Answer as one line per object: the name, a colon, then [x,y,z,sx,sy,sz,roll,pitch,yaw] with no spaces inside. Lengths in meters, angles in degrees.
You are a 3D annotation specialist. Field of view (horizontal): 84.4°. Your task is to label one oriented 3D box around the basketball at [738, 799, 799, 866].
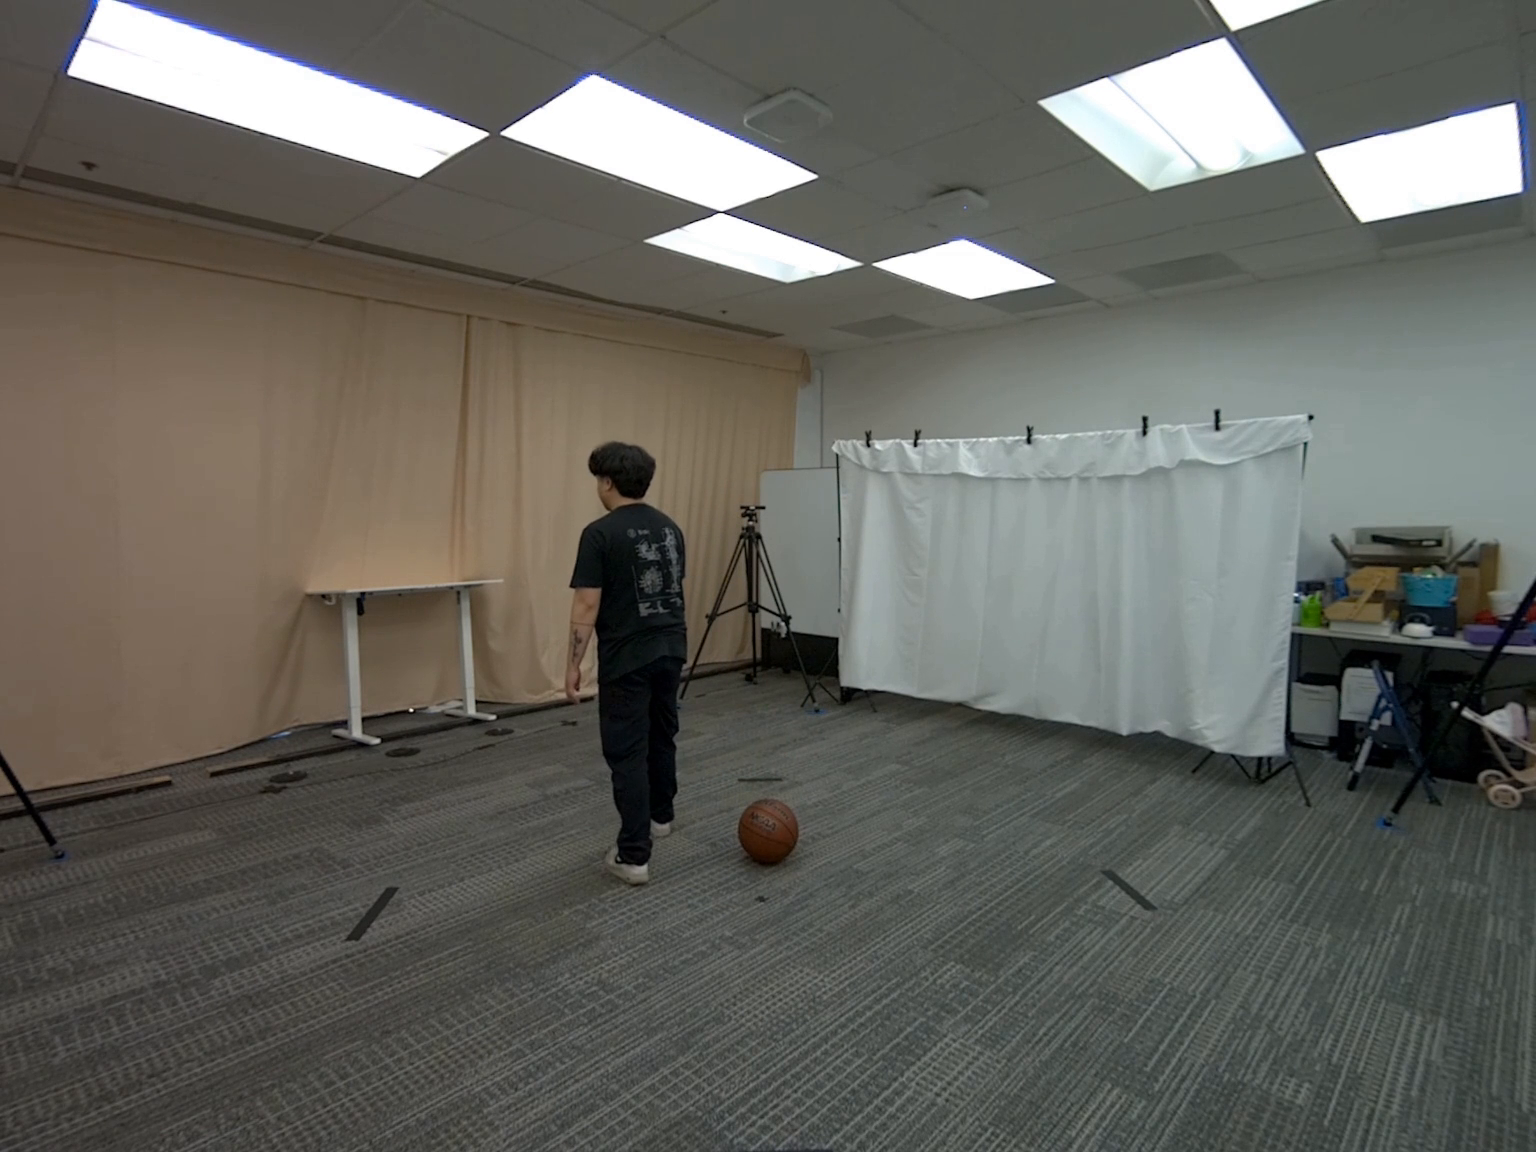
basketball: [0.006,0.999,3.296,0.236,0.235,0.237,0,4,-2]
